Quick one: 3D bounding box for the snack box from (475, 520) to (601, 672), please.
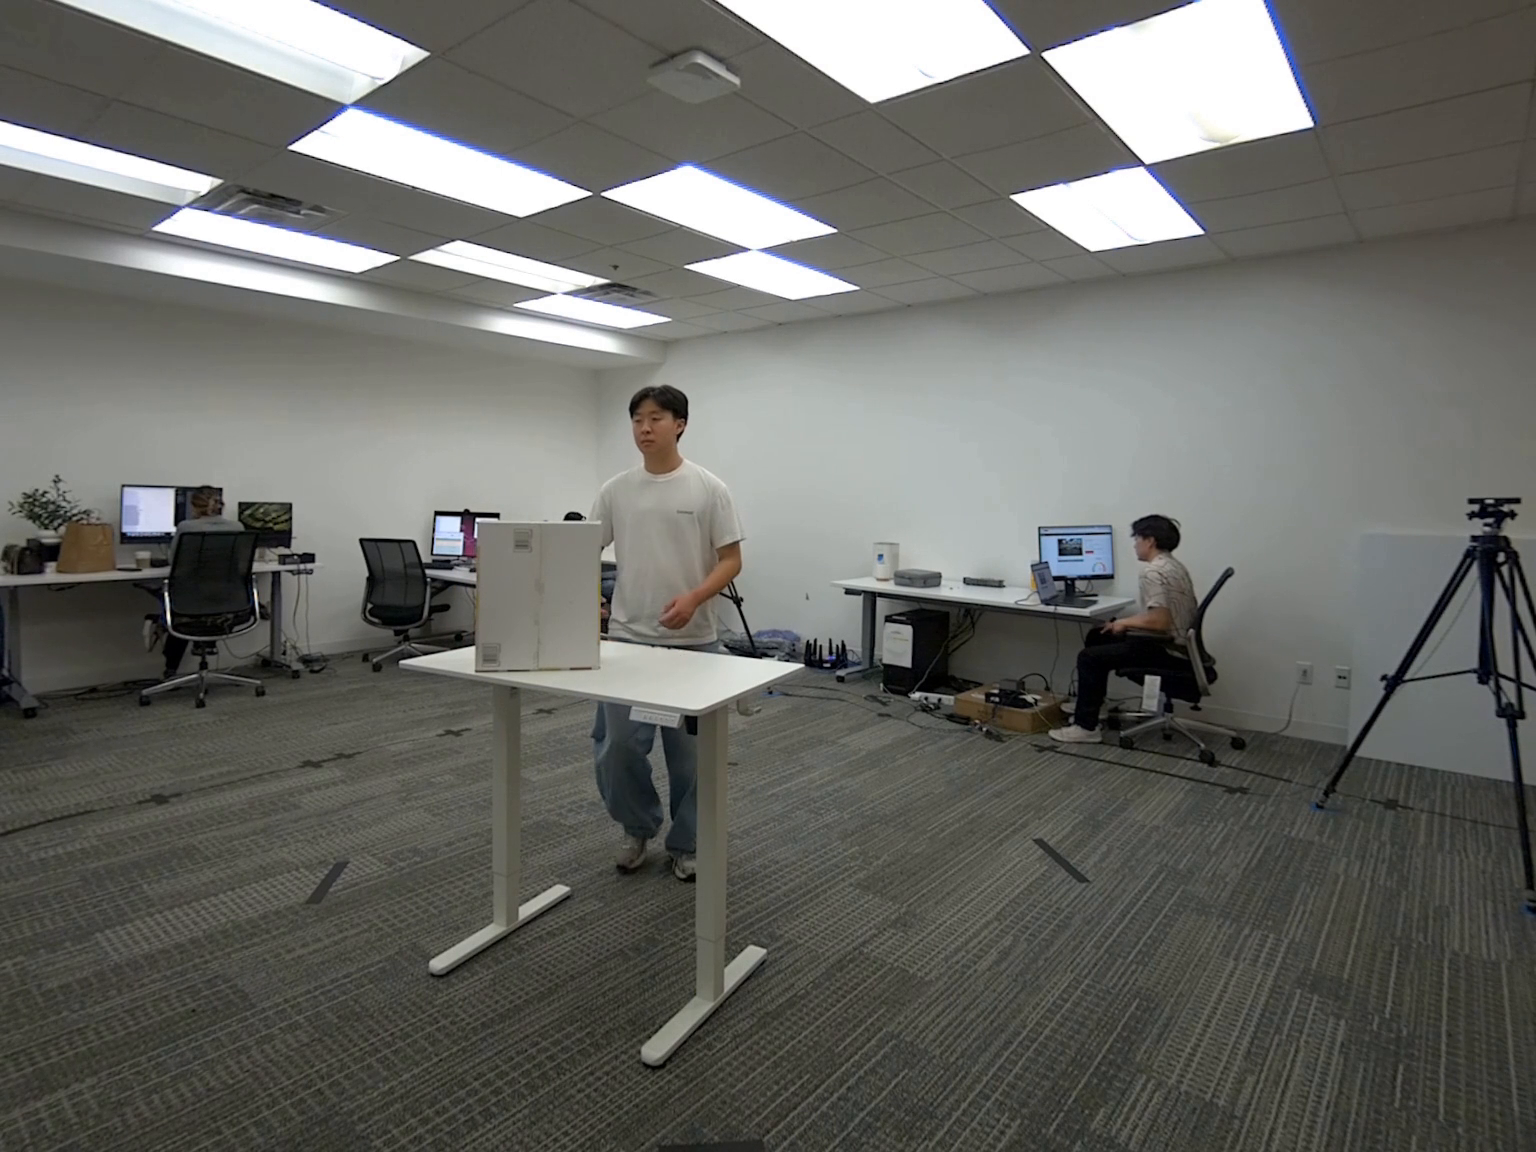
[{"bbox_3d":[-0.655,0.042,2.405,0.336,0.404,0.208,1,3,-11],"label":"snack box"}]
